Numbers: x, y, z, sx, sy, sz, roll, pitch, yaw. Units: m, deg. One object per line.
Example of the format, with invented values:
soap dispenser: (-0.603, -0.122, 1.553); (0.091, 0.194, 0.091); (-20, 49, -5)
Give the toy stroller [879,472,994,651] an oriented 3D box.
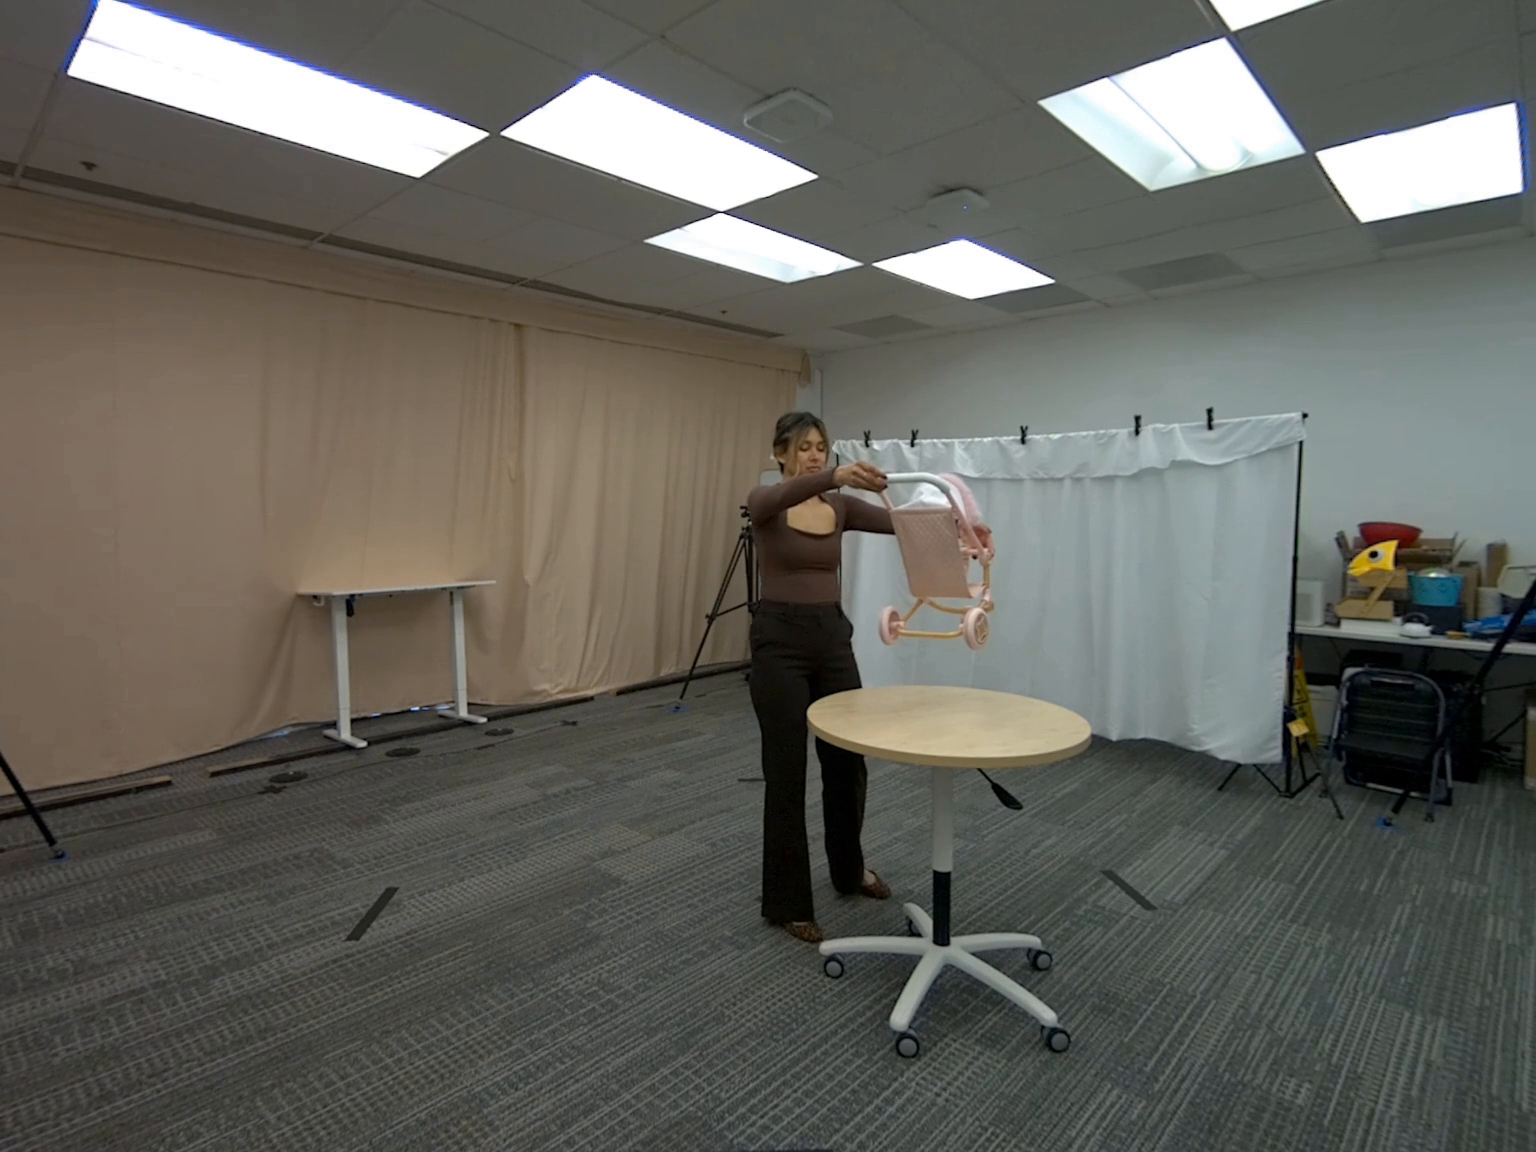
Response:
toy stroller: (0.492, -0.036, 2.316); (0.290, 0.531, 0.333); (0, 13, 43)
